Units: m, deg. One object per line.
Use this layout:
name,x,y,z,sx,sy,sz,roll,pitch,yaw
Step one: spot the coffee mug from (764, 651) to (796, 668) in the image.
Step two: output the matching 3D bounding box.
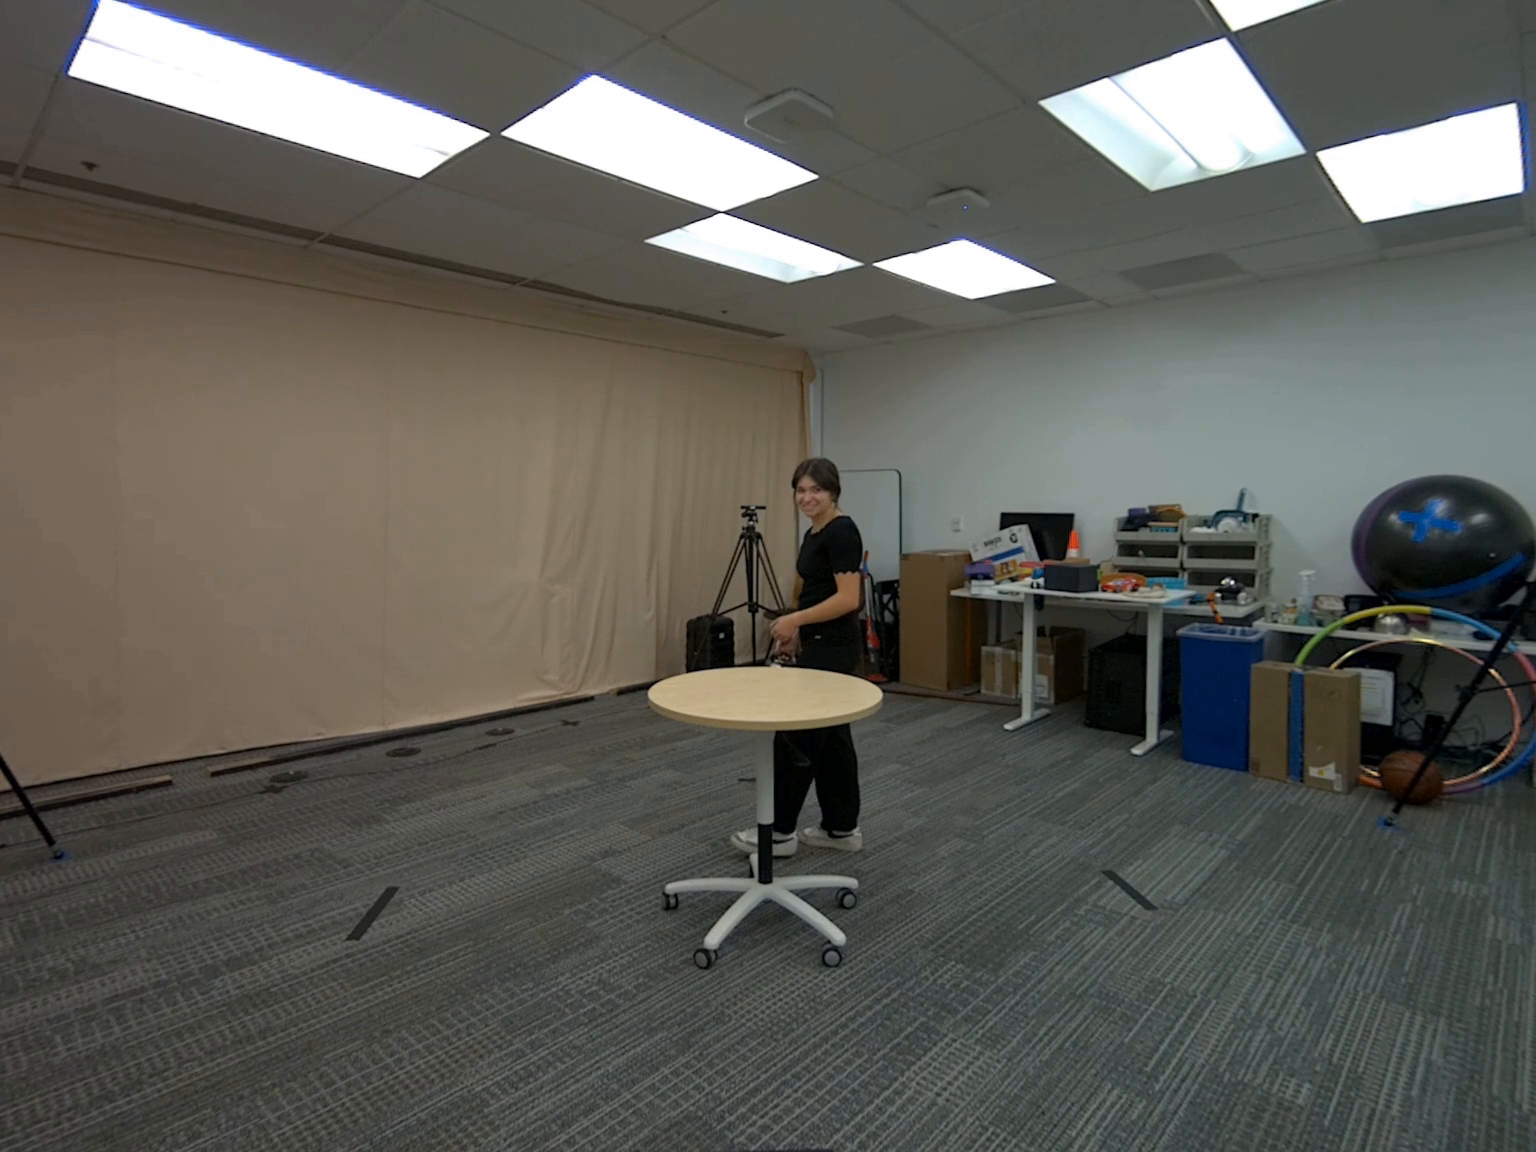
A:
coffee mug,0.095,0.390,3.606,0.207,0.119,0.088,6,47,17
